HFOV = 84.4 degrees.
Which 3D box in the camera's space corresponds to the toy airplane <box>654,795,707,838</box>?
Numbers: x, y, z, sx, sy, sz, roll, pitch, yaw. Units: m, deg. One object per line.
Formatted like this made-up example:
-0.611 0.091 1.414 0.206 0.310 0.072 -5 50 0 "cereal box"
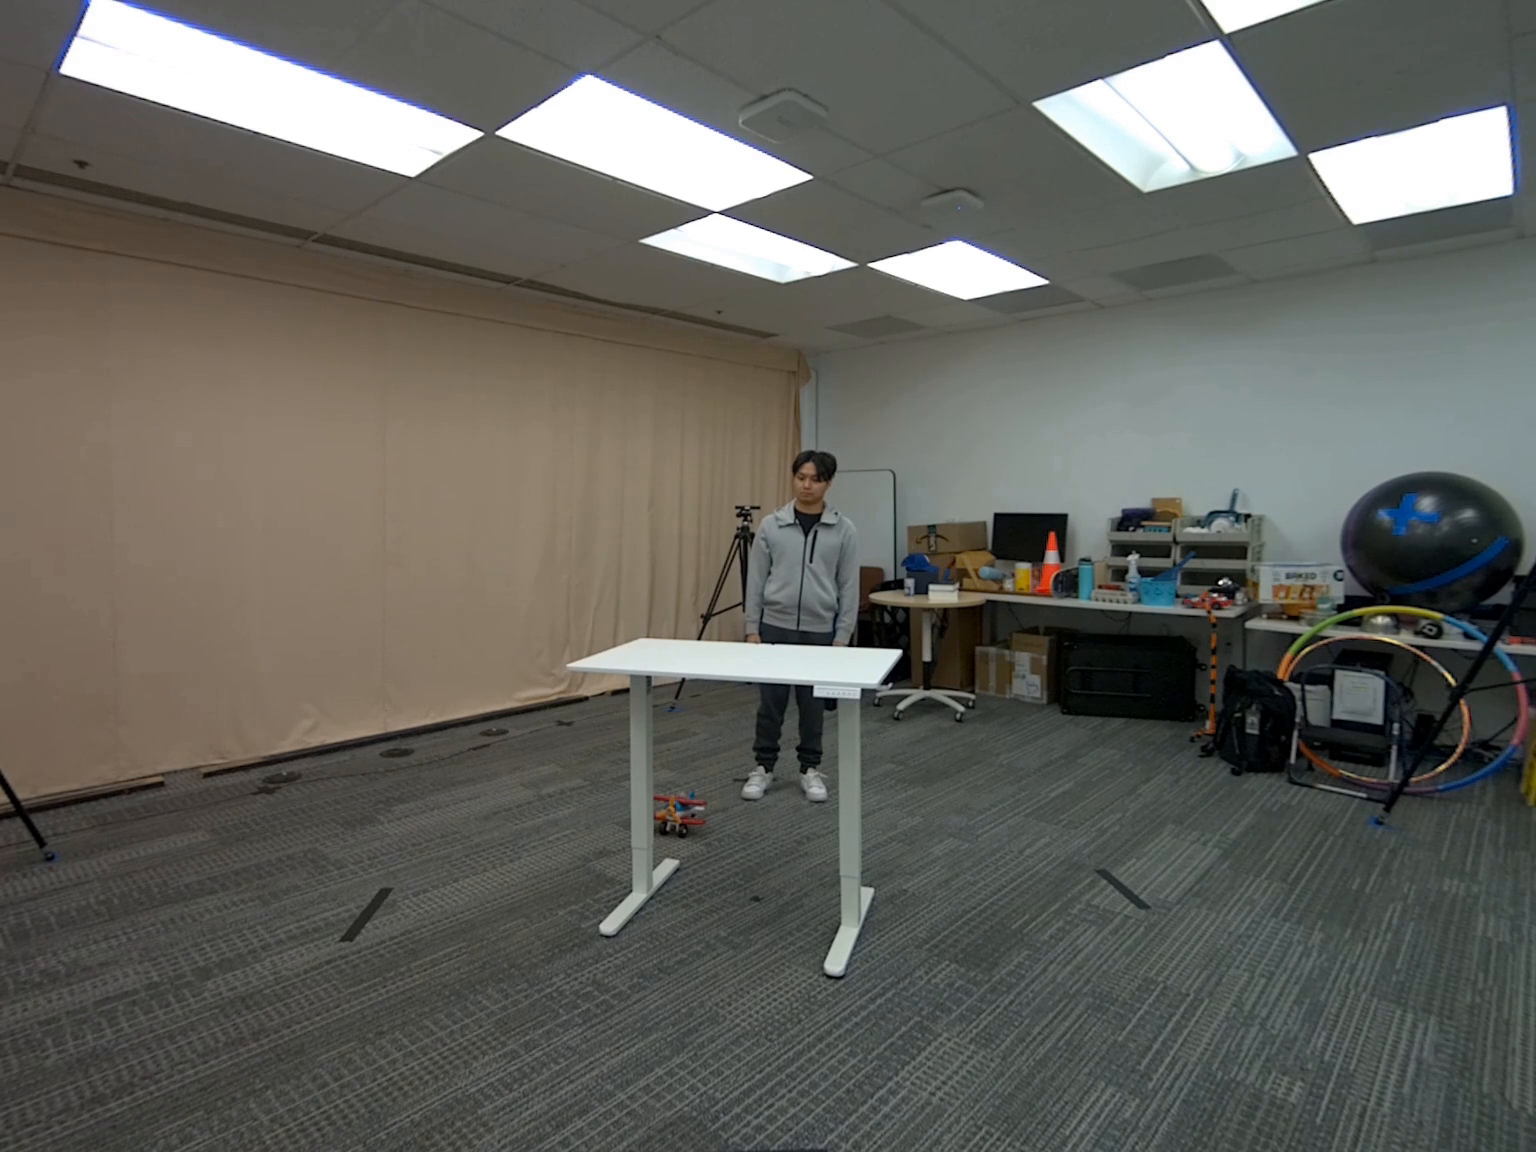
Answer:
-0.387 1.014 3.633 0.249 0.156 0.262 -1 5 -7 "toy airplane"
